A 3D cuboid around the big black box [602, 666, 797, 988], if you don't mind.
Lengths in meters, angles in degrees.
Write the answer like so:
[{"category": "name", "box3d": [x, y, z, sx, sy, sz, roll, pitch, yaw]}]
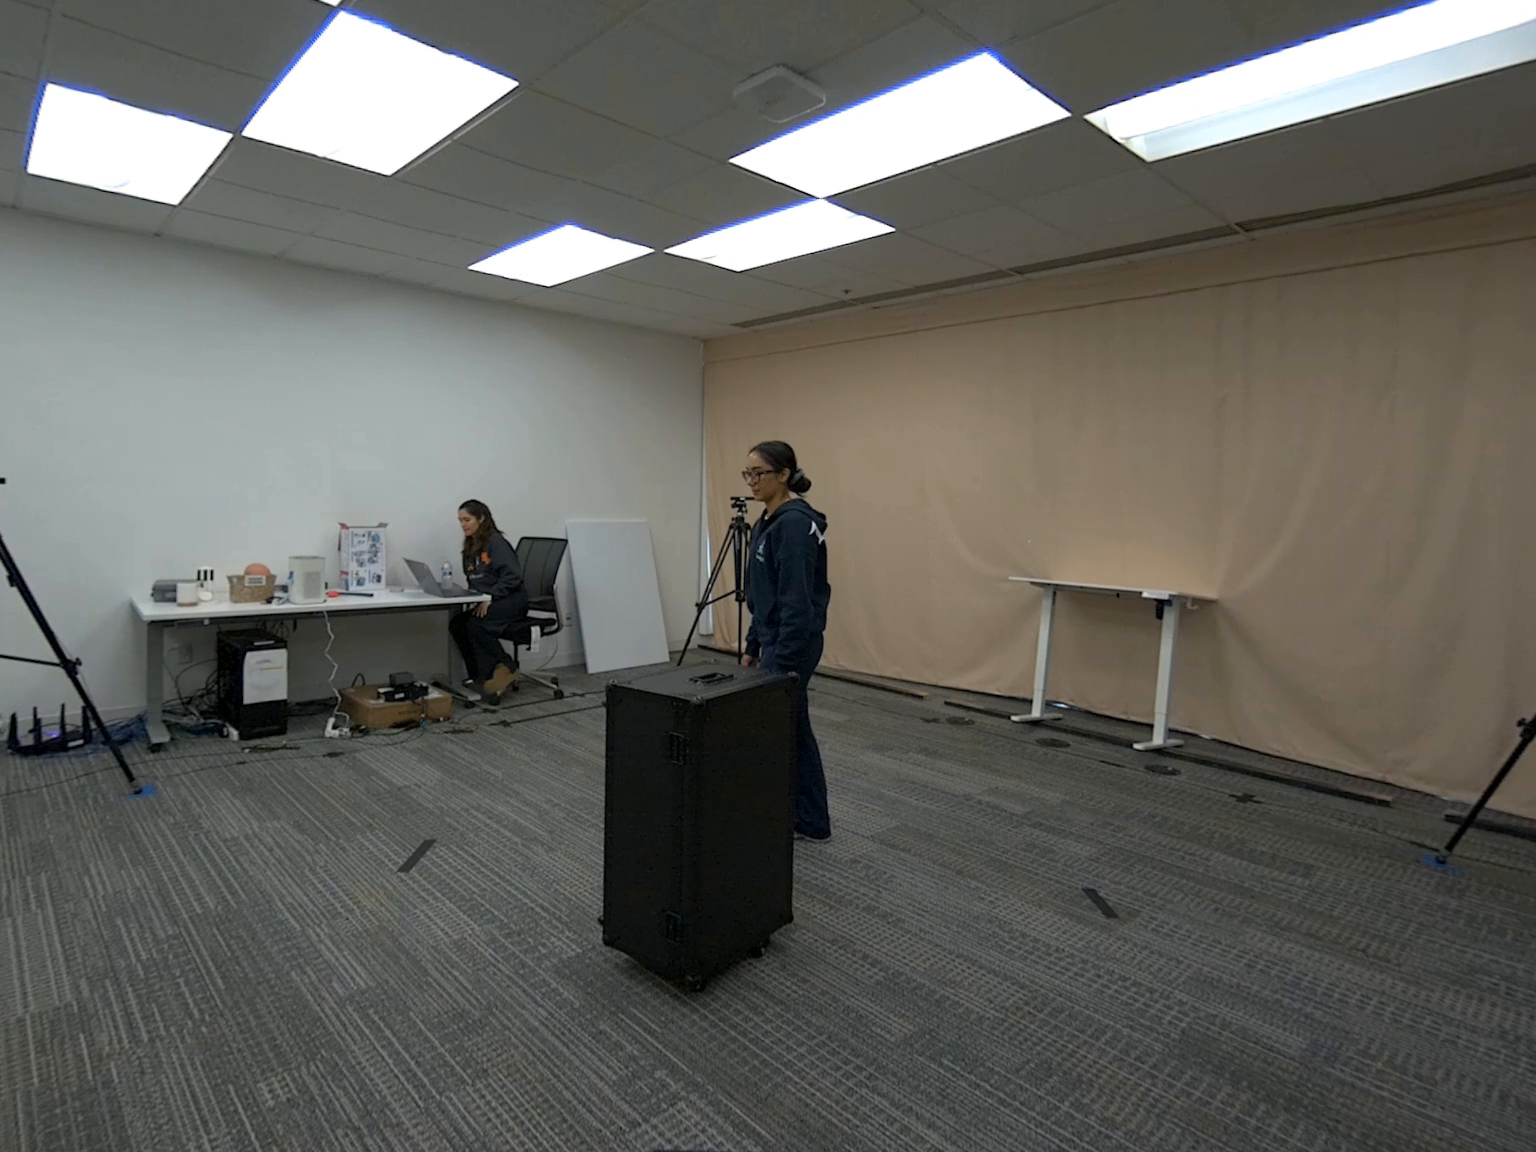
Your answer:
[{"category": "big black box", "box3d": [-0.214, 0.734, 2.539, 0.406, 0.860, 0.510, 2, 3, 36]}]
